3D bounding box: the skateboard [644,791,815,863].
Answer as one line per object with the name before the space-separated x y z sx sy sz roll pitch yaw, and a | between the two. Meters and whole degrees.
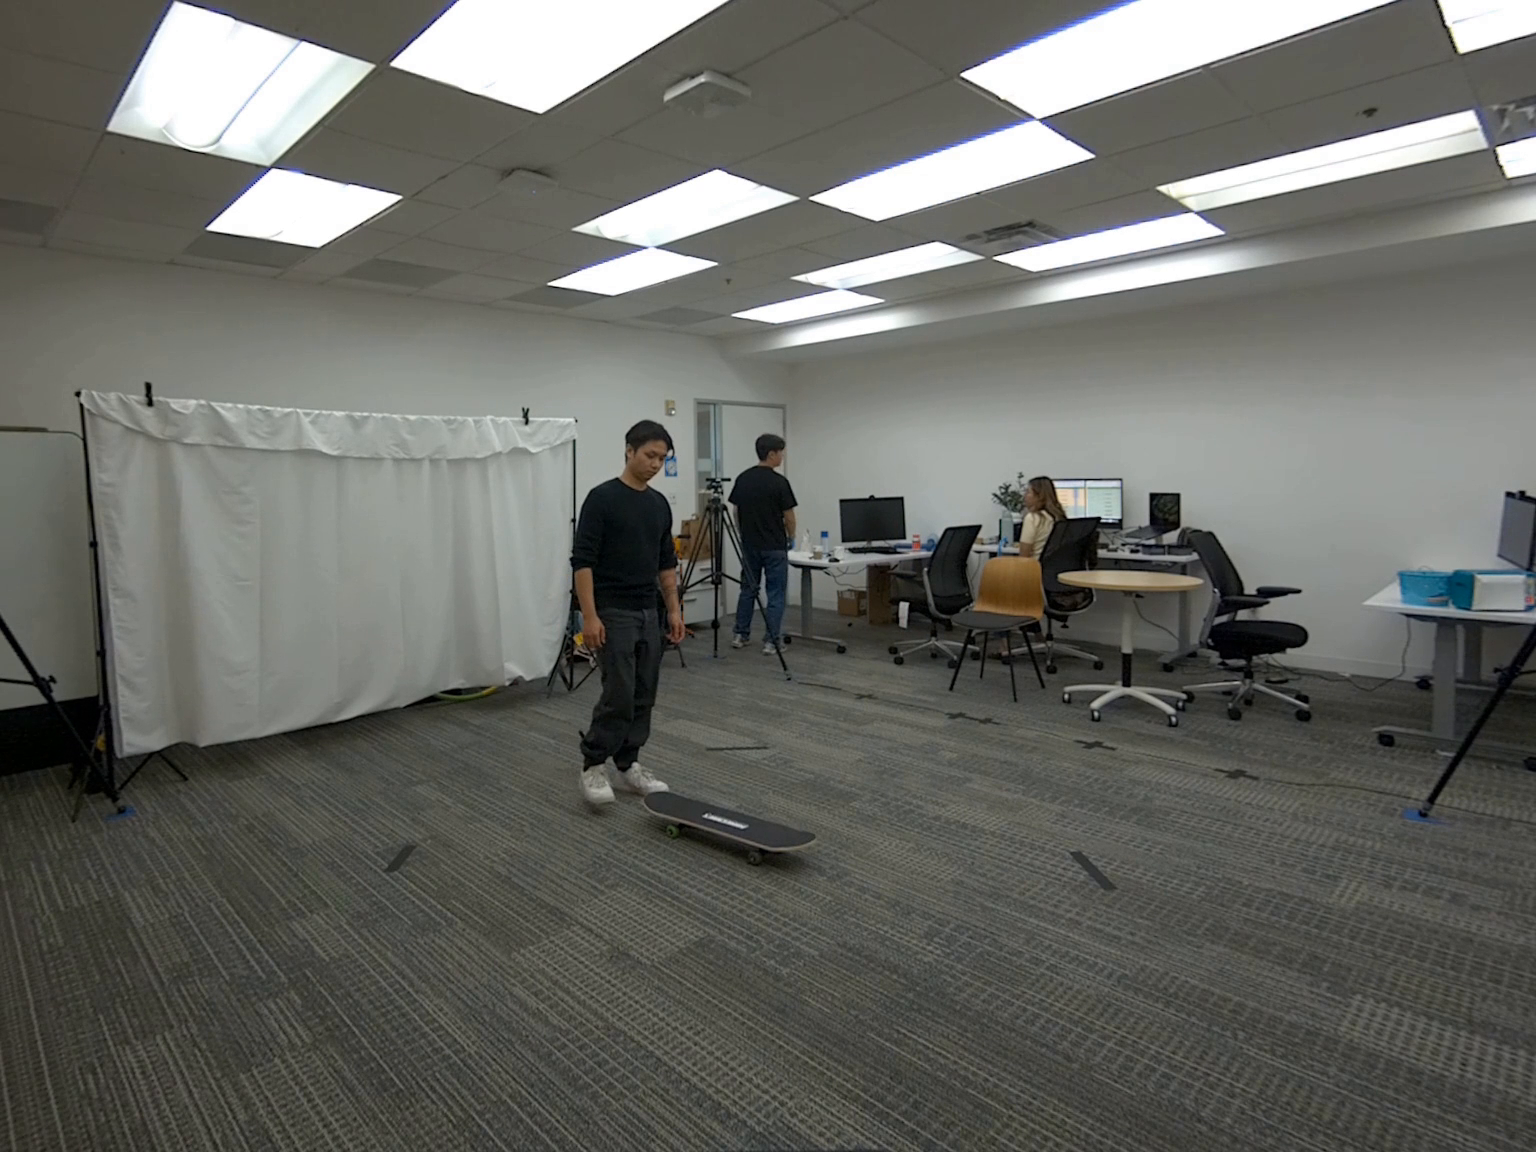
skateboard | -0.161 0.969 3.274 0.809 0.110 0.189 4 7 37
